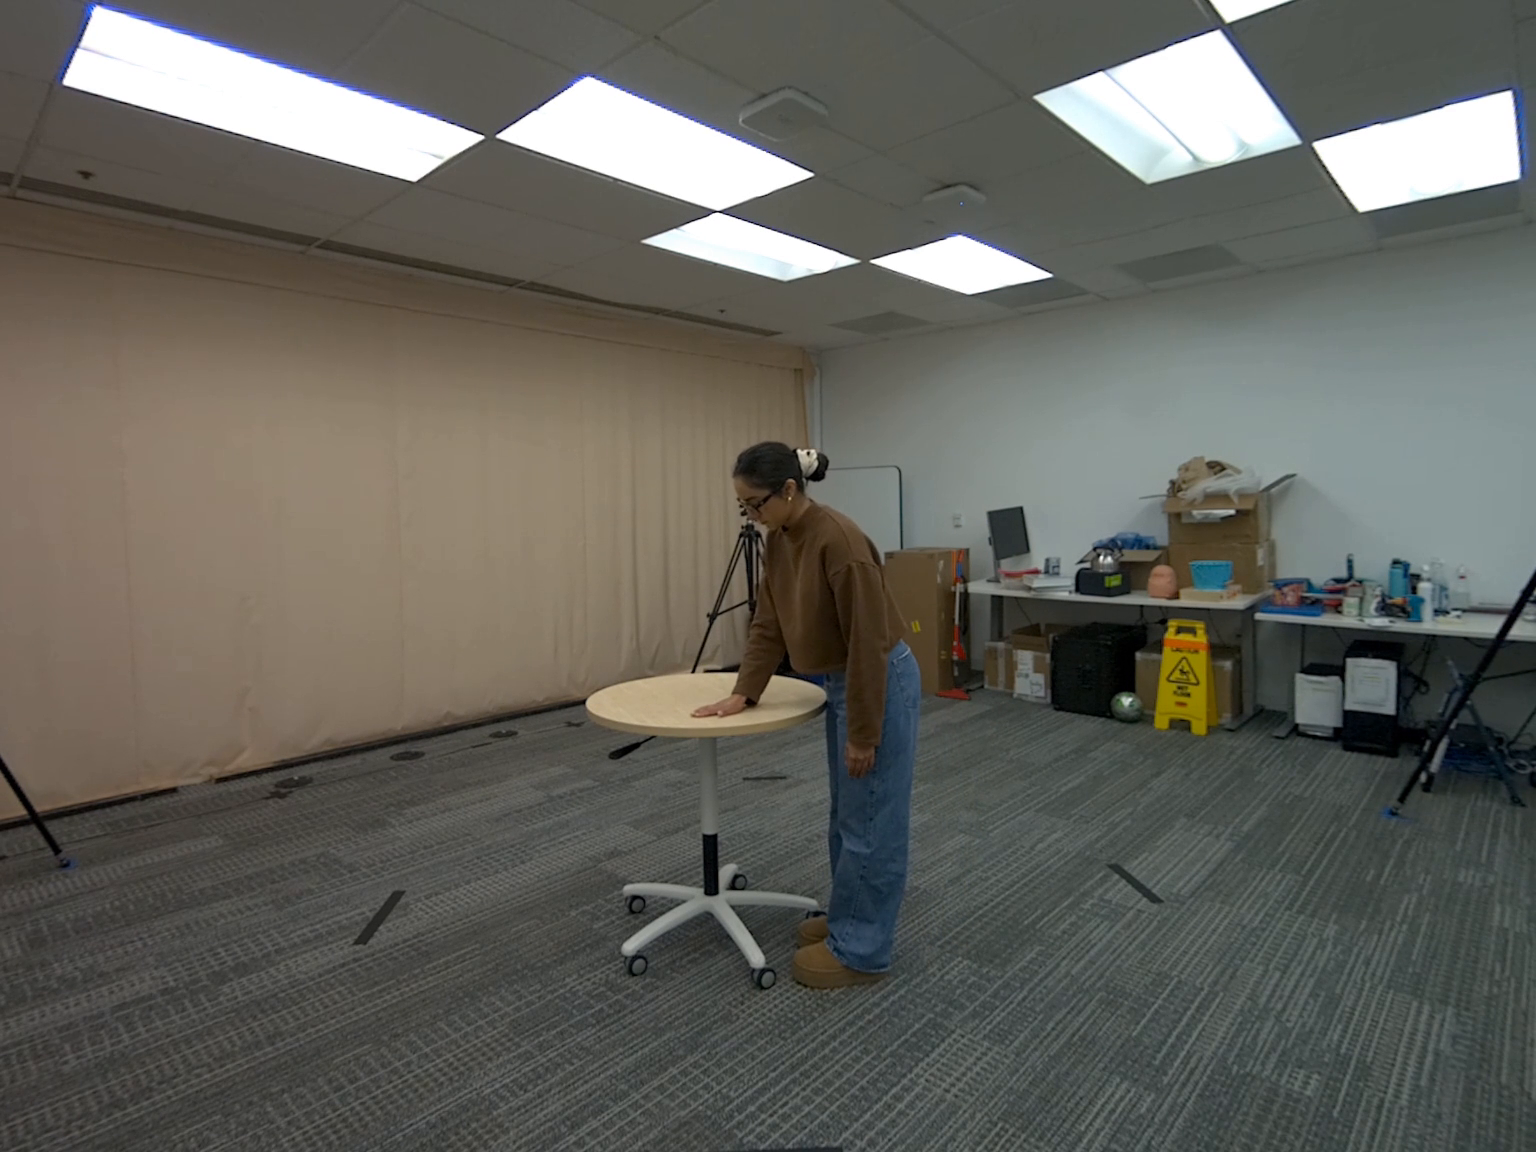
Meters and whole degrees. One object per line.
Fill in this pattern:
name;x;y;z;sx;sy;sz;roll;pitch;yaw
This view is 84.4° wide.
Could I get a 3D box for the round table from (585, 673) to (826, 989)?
round table;-0.187;0.780;2.710;0.763;0.792;0.767;-1;4;-2
